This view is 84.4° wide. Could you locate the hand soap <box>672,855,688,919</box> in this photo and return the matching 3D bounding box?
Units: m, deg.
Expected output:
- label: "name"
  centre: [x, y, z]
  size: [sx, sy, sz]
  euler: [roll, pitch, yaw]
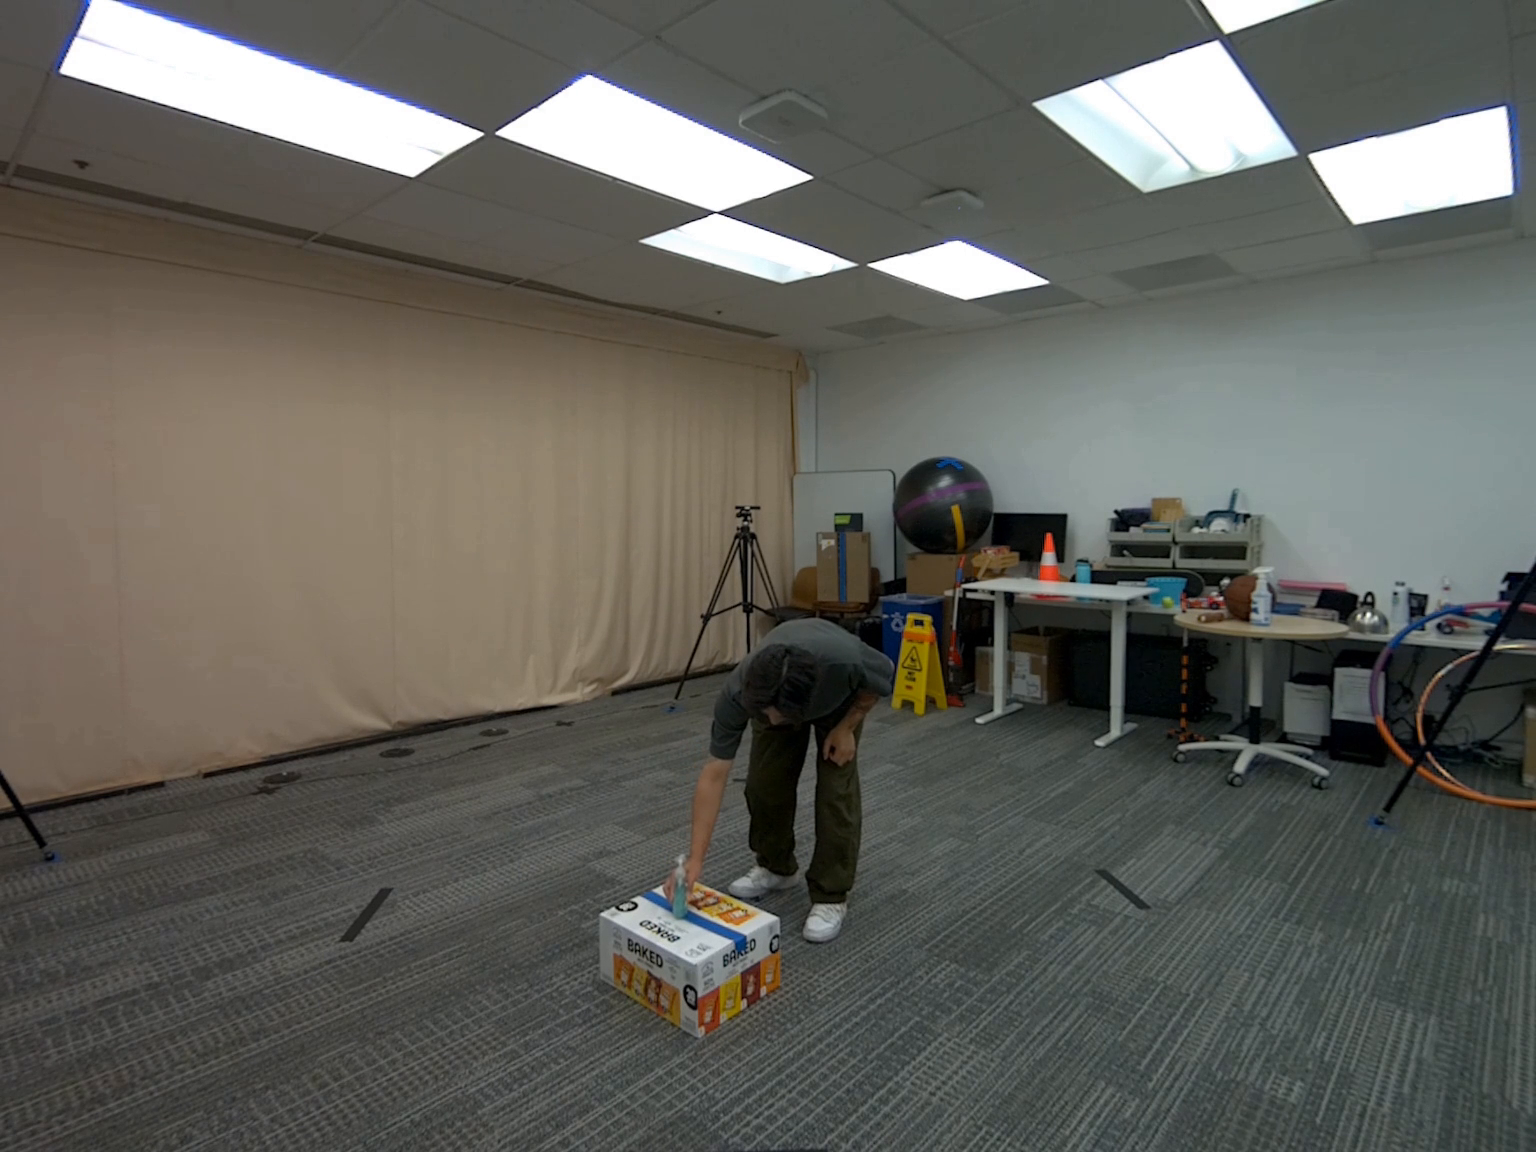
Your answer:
- label: "hand soap"
  centre: [-0.248, 0.897, 2.444]
  size: [0.043, 0.167, 0.085]
  euler: [-4, 9, 2]
